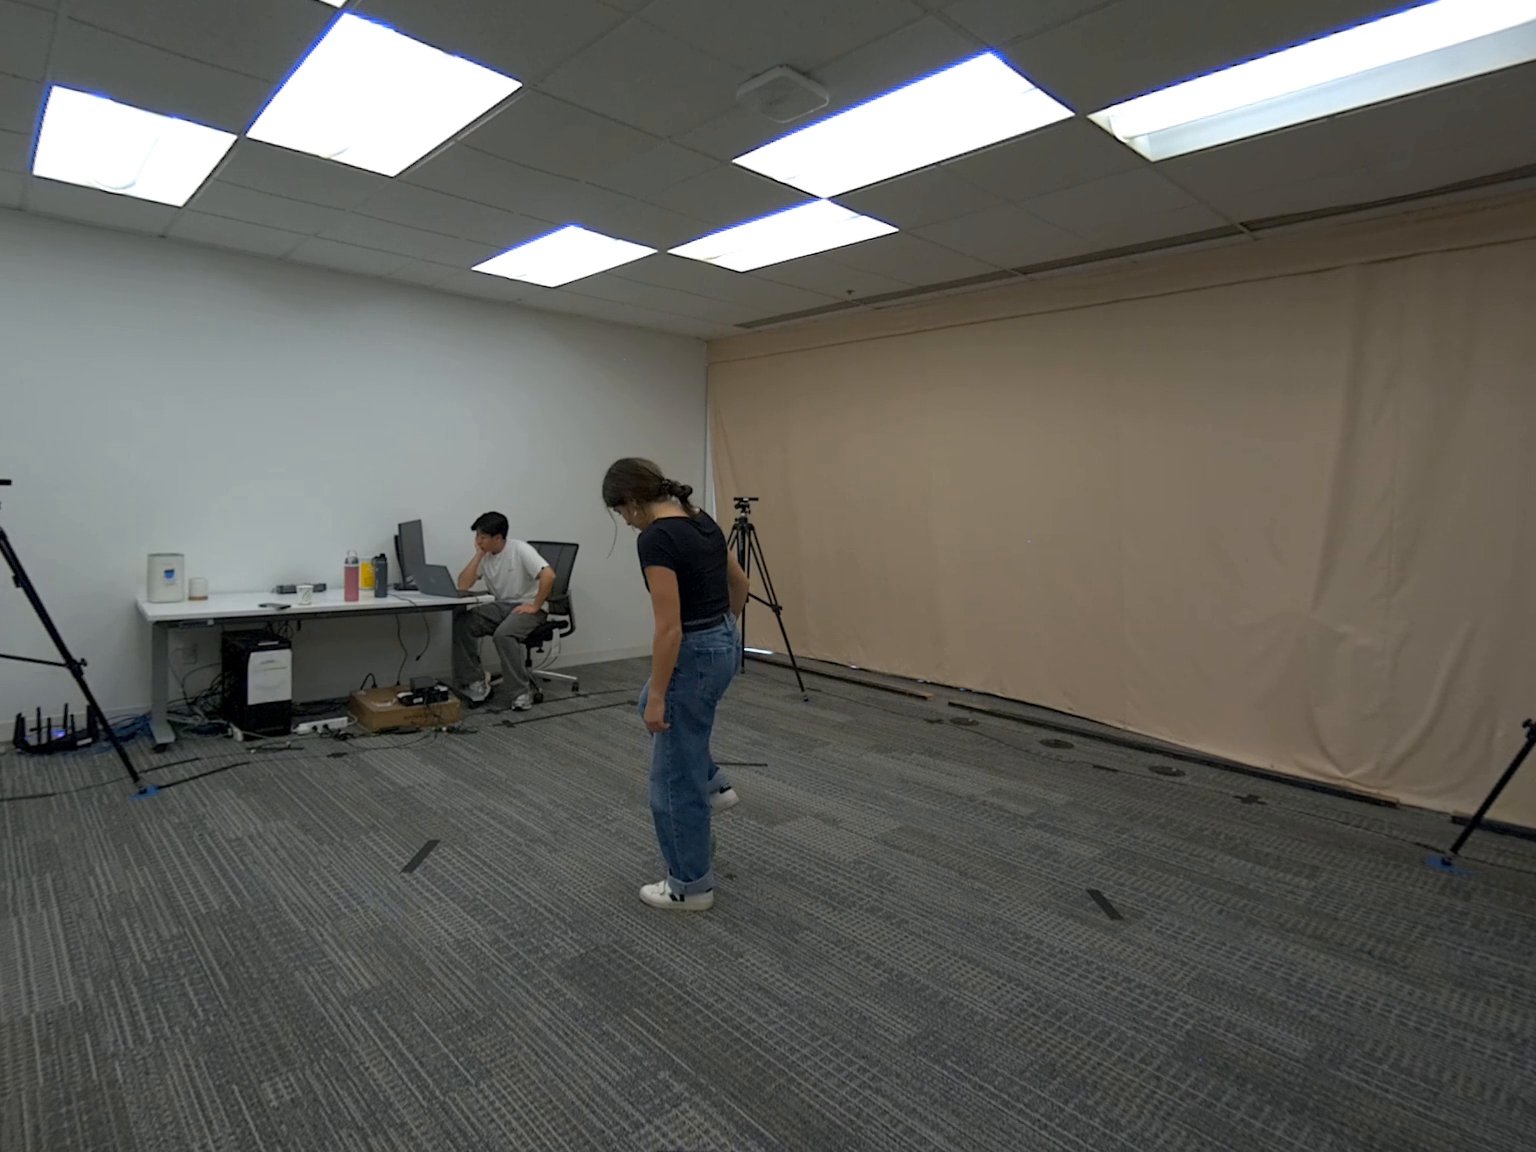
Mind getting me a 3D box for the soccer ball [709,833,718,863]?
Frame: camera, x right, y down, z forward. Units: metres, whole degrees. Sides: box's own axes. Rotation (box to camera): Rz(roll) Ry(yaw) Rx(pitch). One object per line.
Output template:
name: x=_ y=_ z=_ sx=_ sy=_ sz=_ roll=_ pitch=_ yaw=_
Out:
soccer ball: x=-0.290 y=1.013 z=3.158 sx=0.187 sy=0.187 sz=0.188 roll=1 pitch=4 yaw=-1
